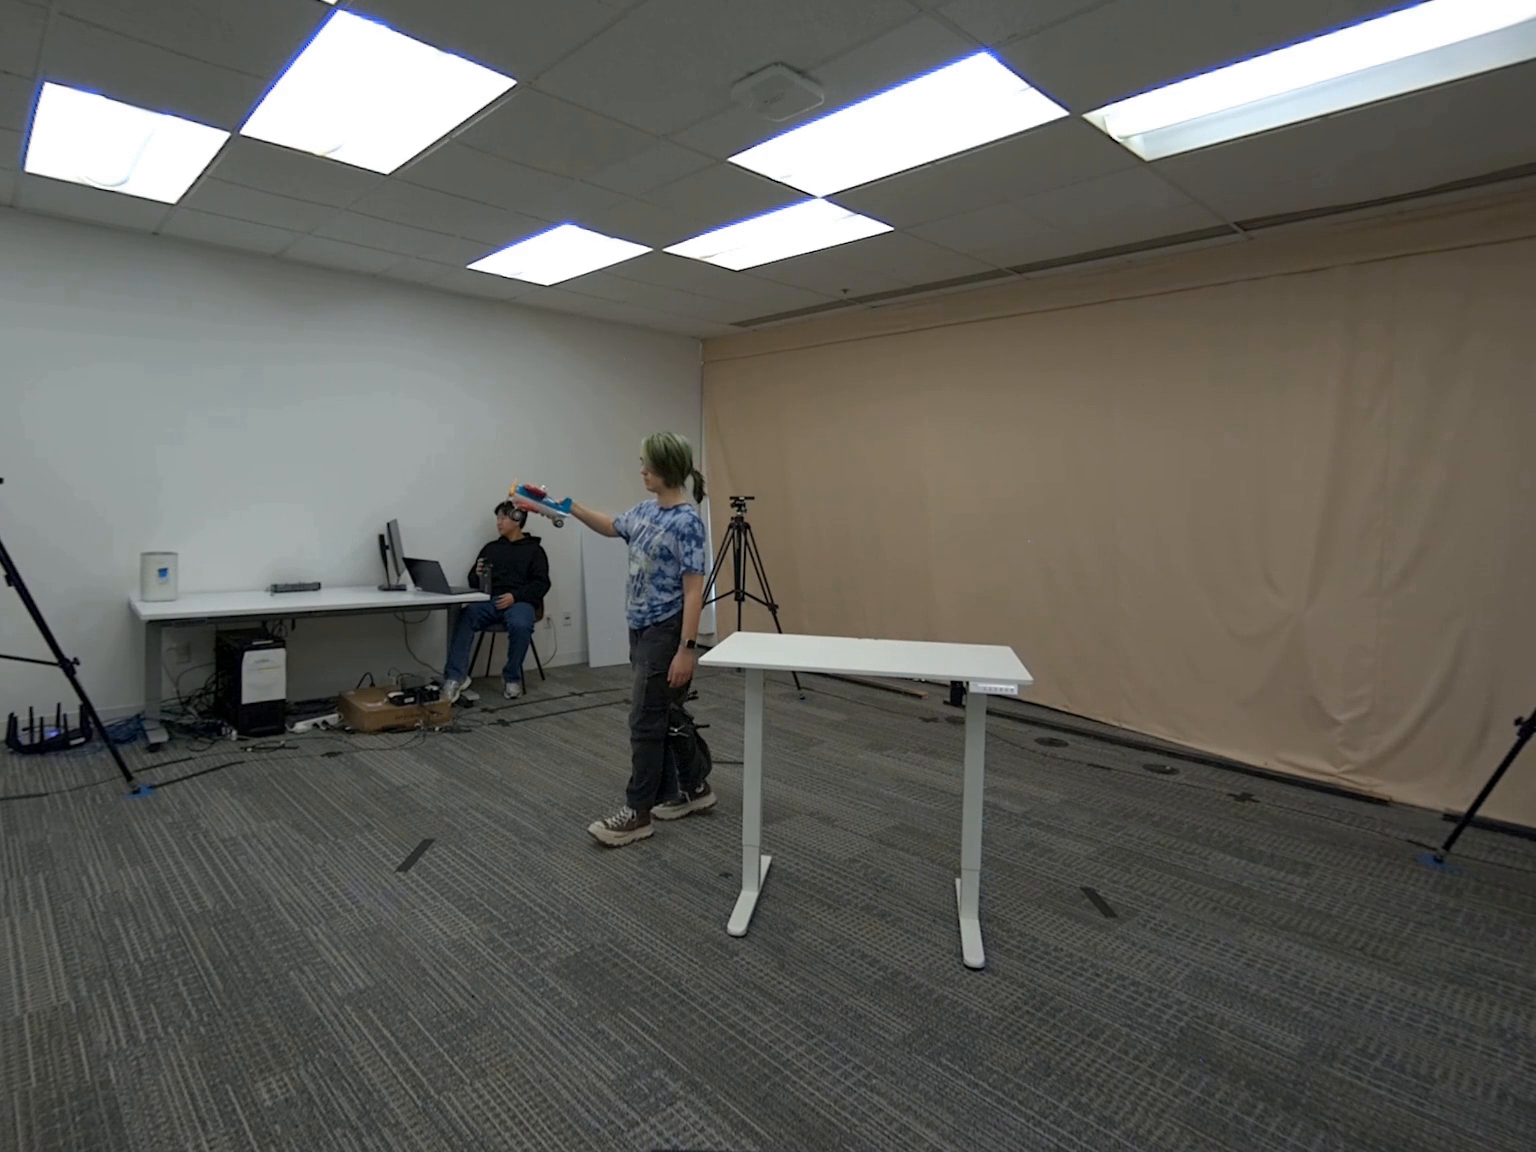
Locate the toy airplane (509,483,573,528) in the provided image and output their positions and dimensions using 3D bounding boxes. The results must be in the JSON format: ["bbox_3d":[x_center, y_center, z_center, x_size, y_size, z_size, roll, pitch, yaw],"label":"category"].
[{"bbox_3d":[-0.958,-0.291,3.477,0.258,0.156,0.252,11,3,40],"label":"toy airplane"}]
